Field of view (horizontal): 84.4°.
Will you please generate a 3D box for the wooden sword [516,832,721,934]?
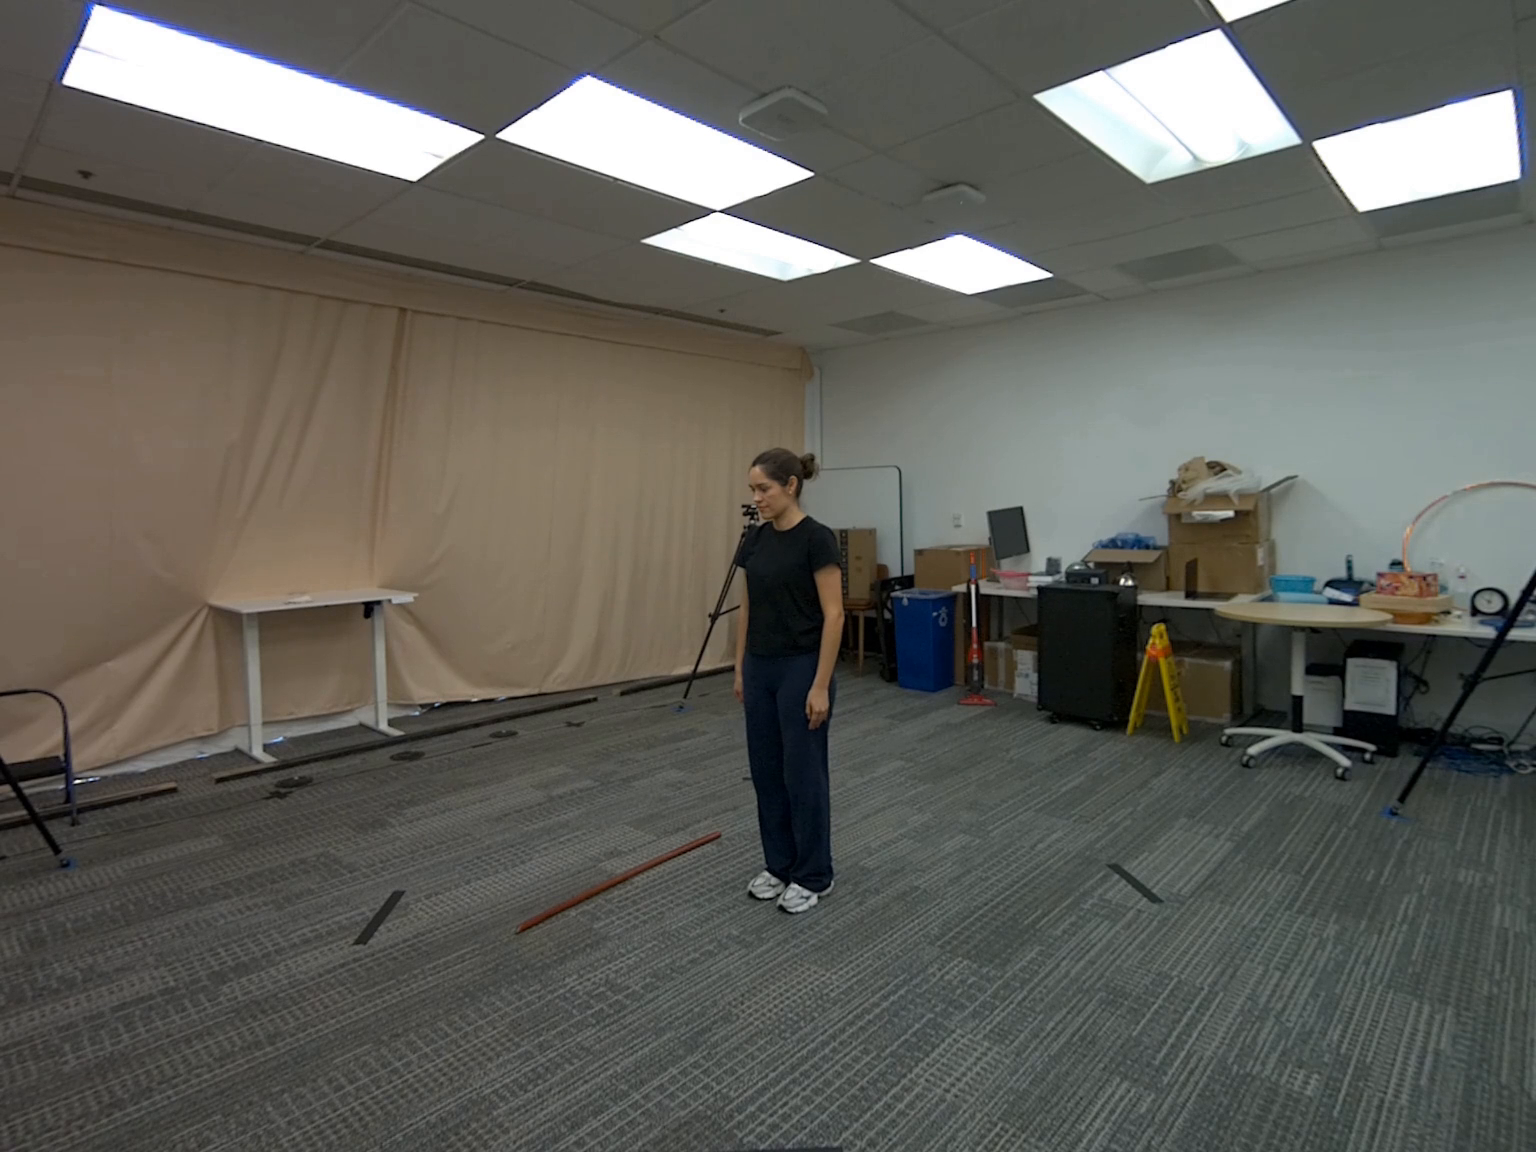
[{"bbox_3d":[-0.497,1.115,3.151,0.052,0.024,0.995,-23,-9,37],"label":"wooden sword"}]
